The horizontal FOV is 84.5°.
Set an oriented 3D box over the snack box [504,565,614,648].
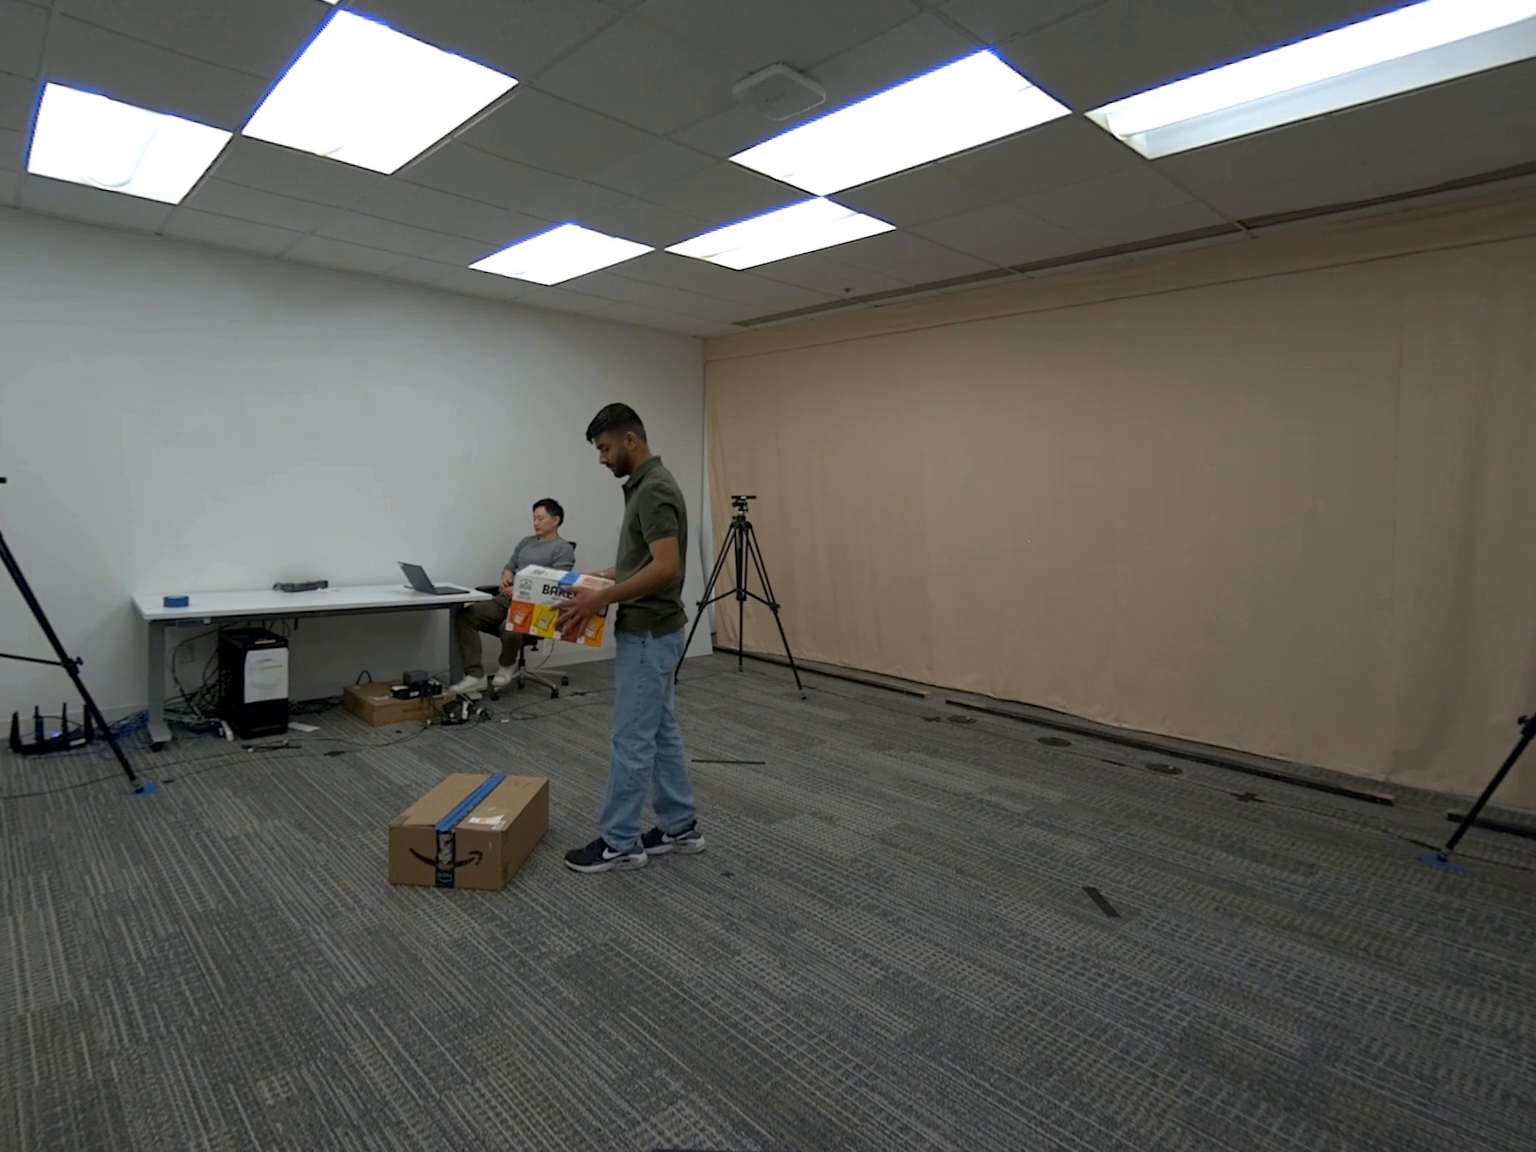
[{"bbox_3d":[-0.756,0.102,3.144,0.338,0.205,0.408,11,3,-8],"label":"snack box"}]
